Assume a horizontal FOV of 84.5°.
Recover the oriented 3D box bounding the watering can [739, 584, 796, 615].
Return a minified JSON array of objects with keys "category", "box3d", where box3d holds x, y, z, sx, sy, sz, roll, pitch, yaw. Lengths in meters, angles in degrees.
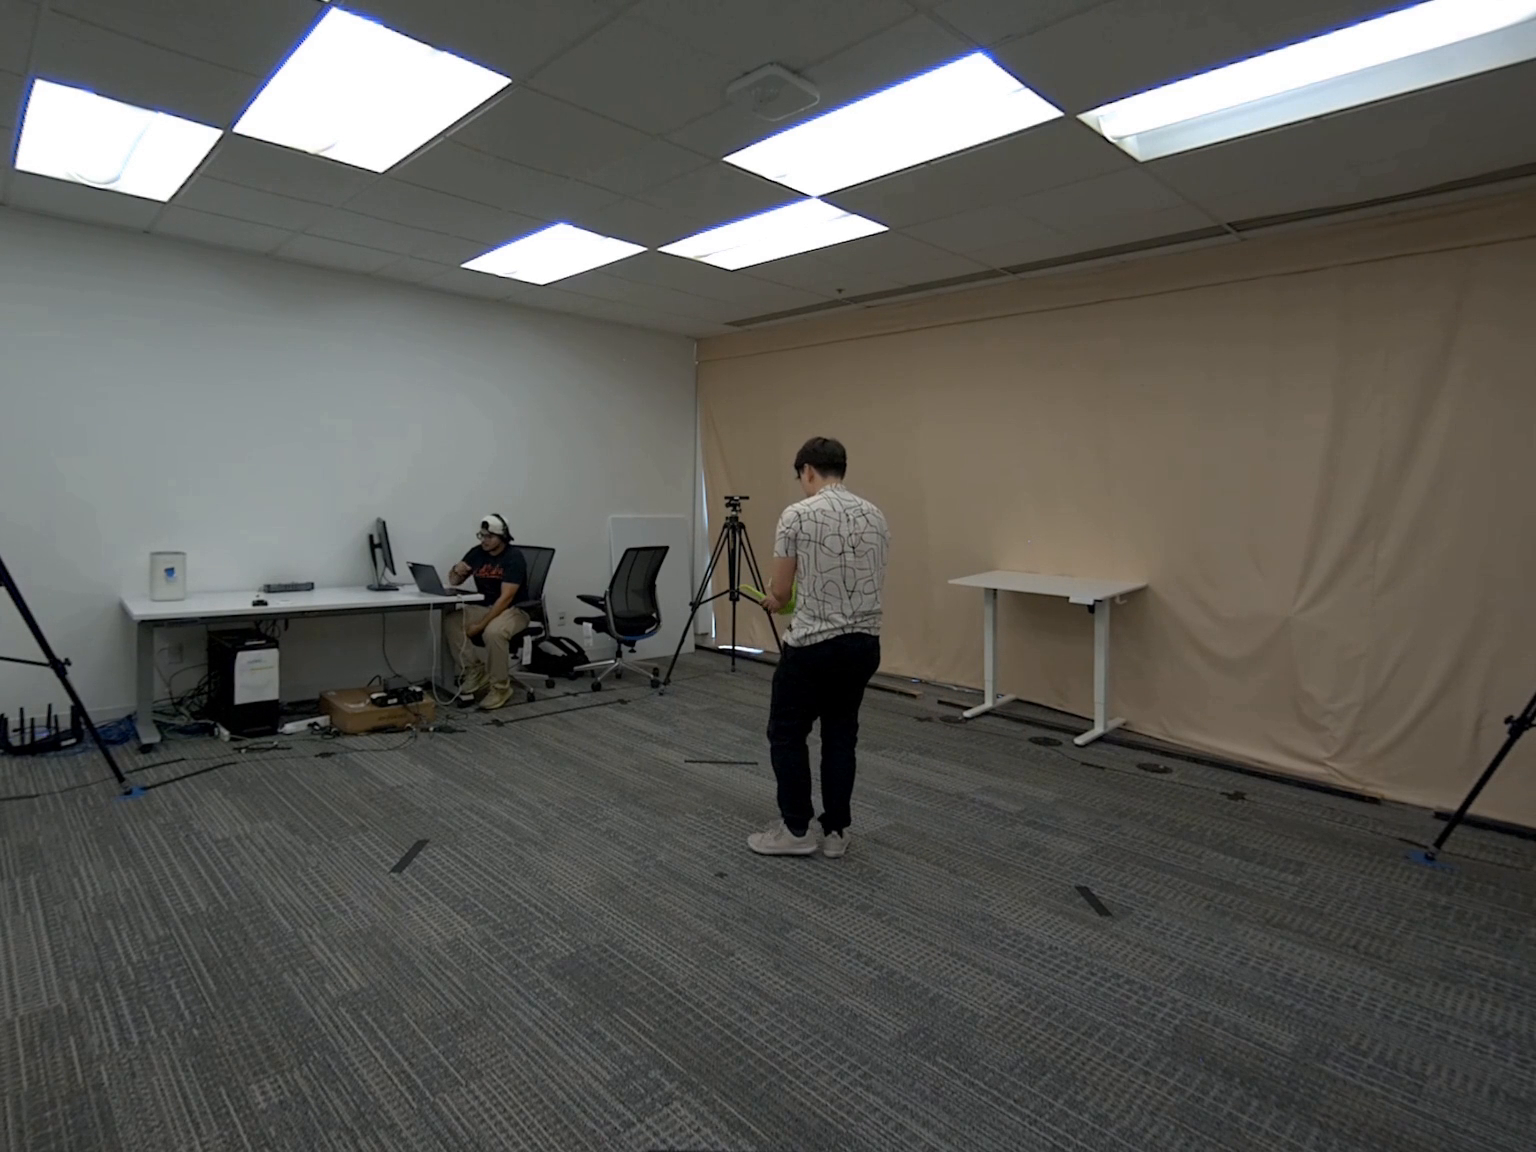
[{"category":"watering can","box3d":[0.040,0.085,3.604,0.280,0.181,0.095,-23,-27,14]}]
